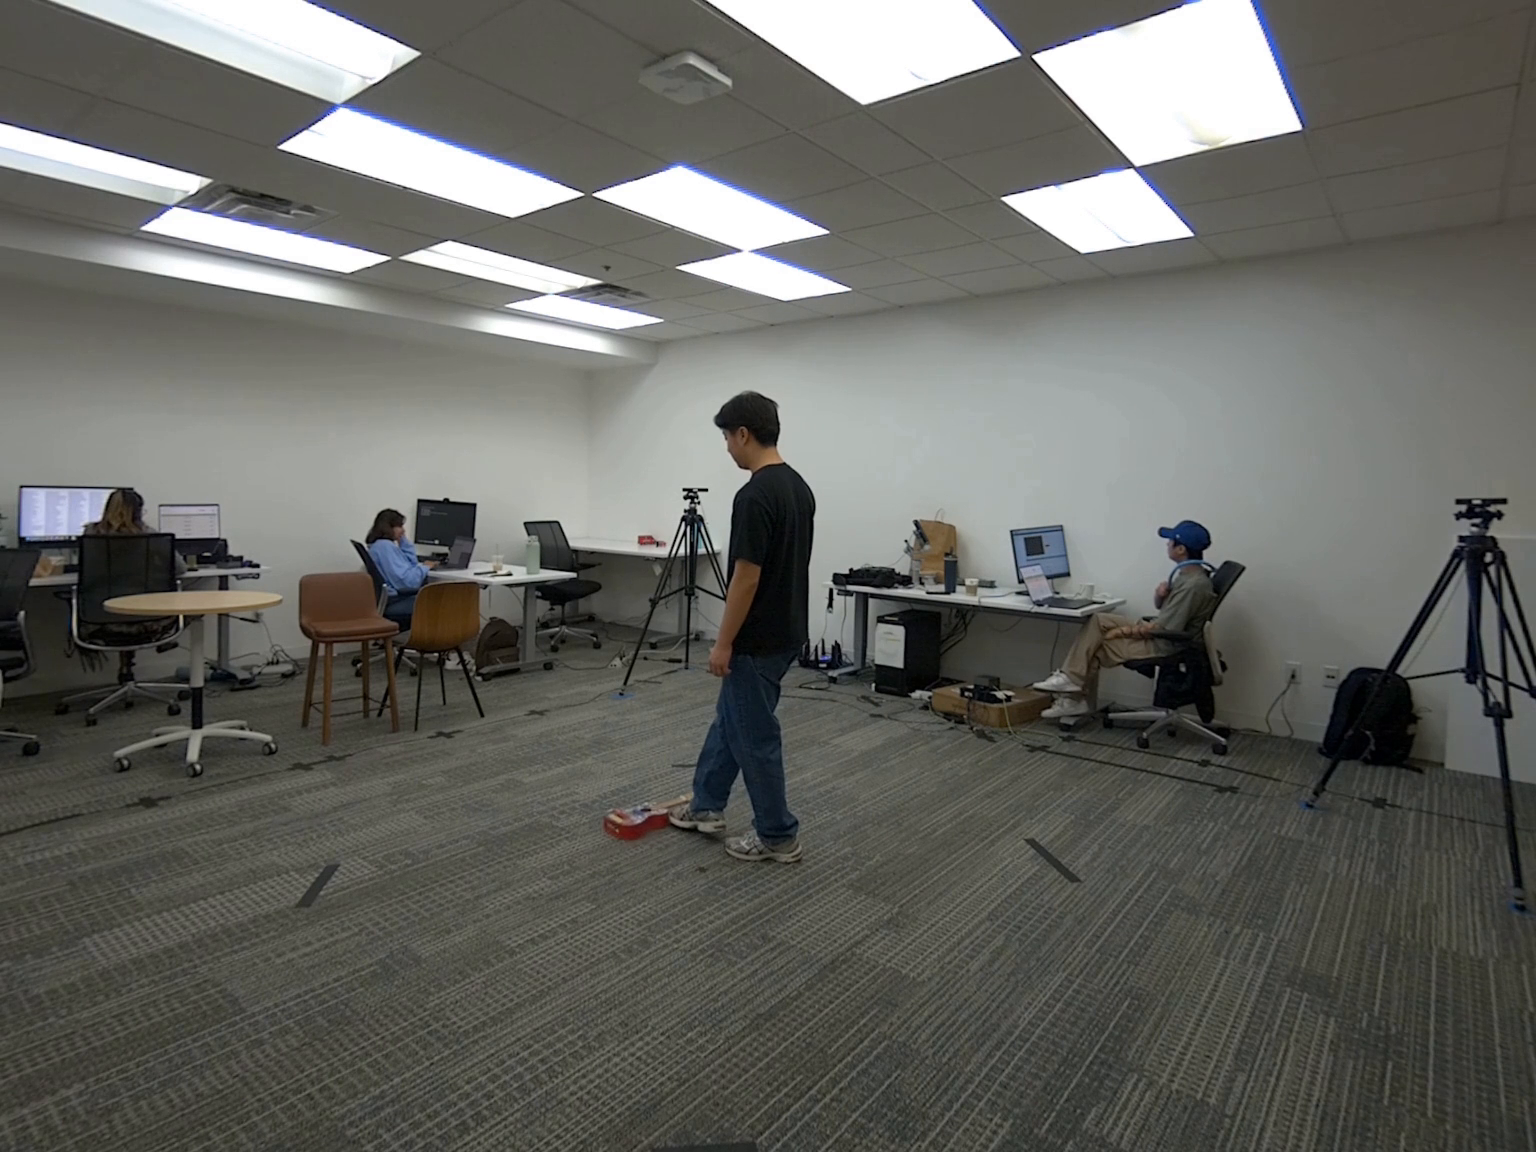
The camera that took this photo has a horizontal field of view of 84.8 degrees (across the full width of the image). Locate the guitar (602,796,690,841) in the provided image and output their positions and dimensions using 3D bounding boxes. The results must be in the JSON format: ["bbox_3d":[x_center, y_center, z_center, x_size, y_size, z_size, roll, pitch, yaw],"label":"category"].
[{"bbox_3d":[-0.440,0.988,3.543,0.484,0.070,0.199,-3,6,-33],"label":"guitar"}]
